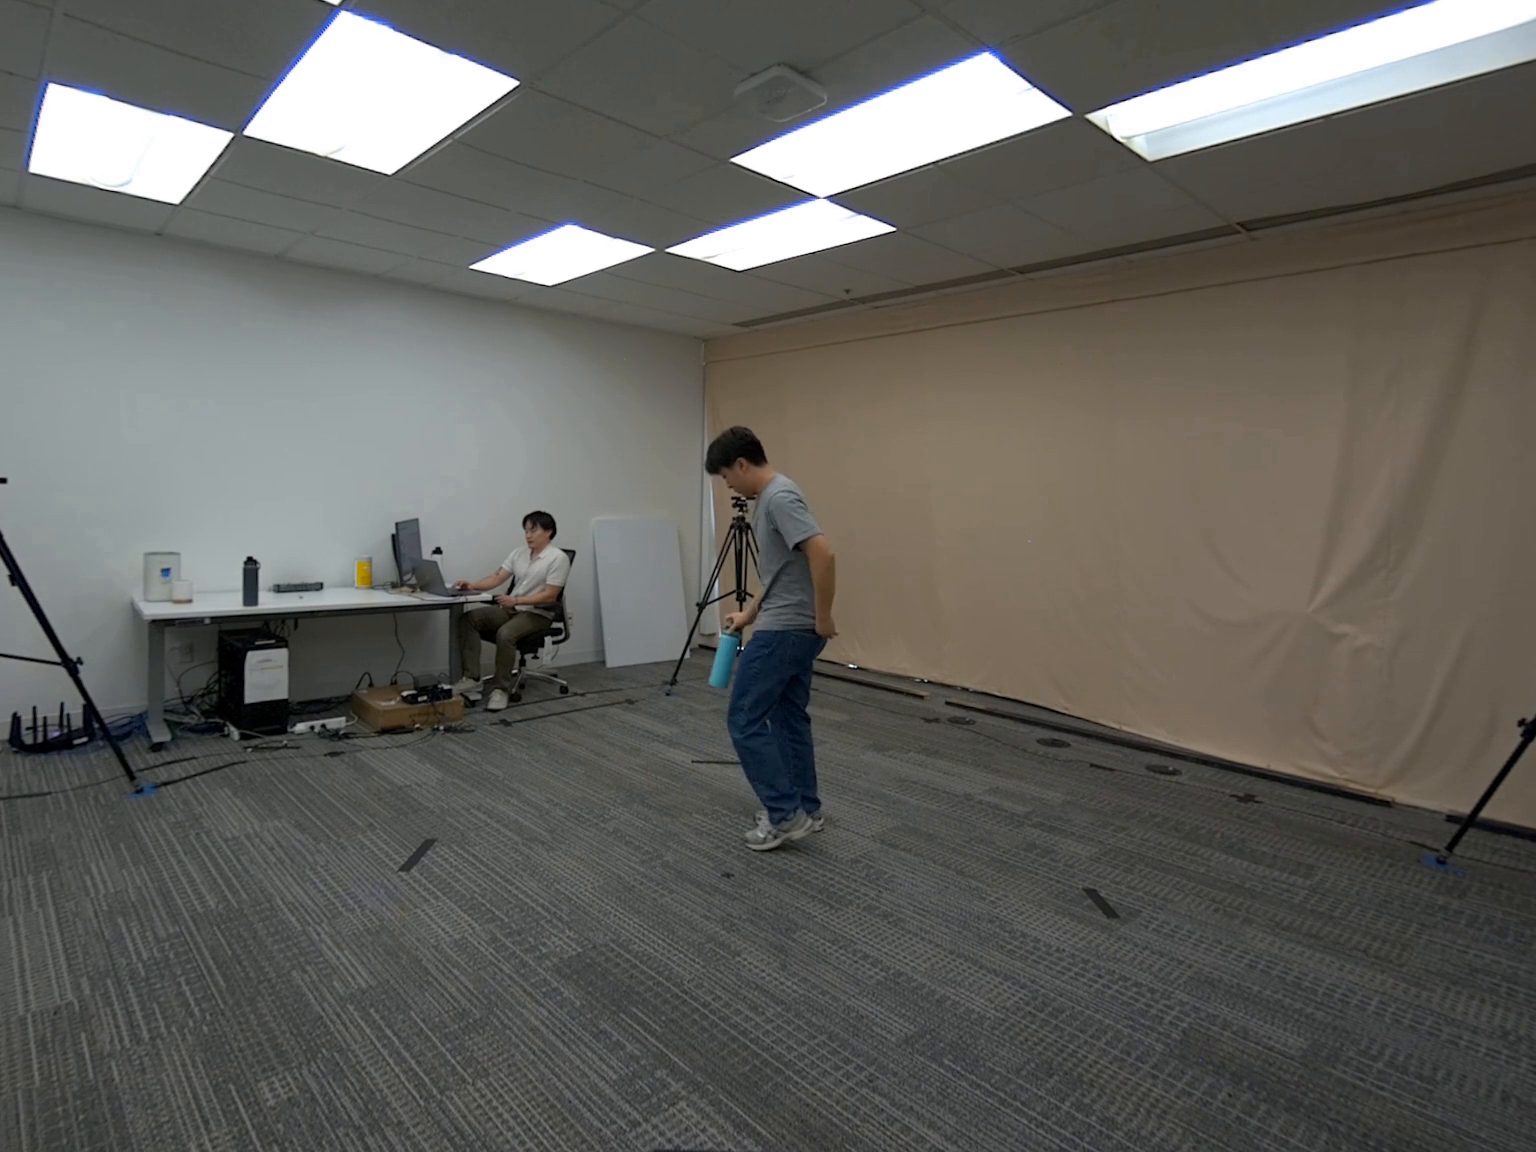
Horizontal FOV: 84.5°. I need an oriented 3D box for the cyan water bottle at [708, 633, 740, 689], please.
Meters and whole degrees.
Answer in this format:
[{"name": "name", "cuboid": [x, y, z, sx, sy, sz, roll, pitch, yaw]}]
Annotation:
[{"name": "cyan water bottle", "cuboid": [-0.189, 0.355, 3.713, 0.092, 0.284, 0.092, 15, -3, -1]}]
